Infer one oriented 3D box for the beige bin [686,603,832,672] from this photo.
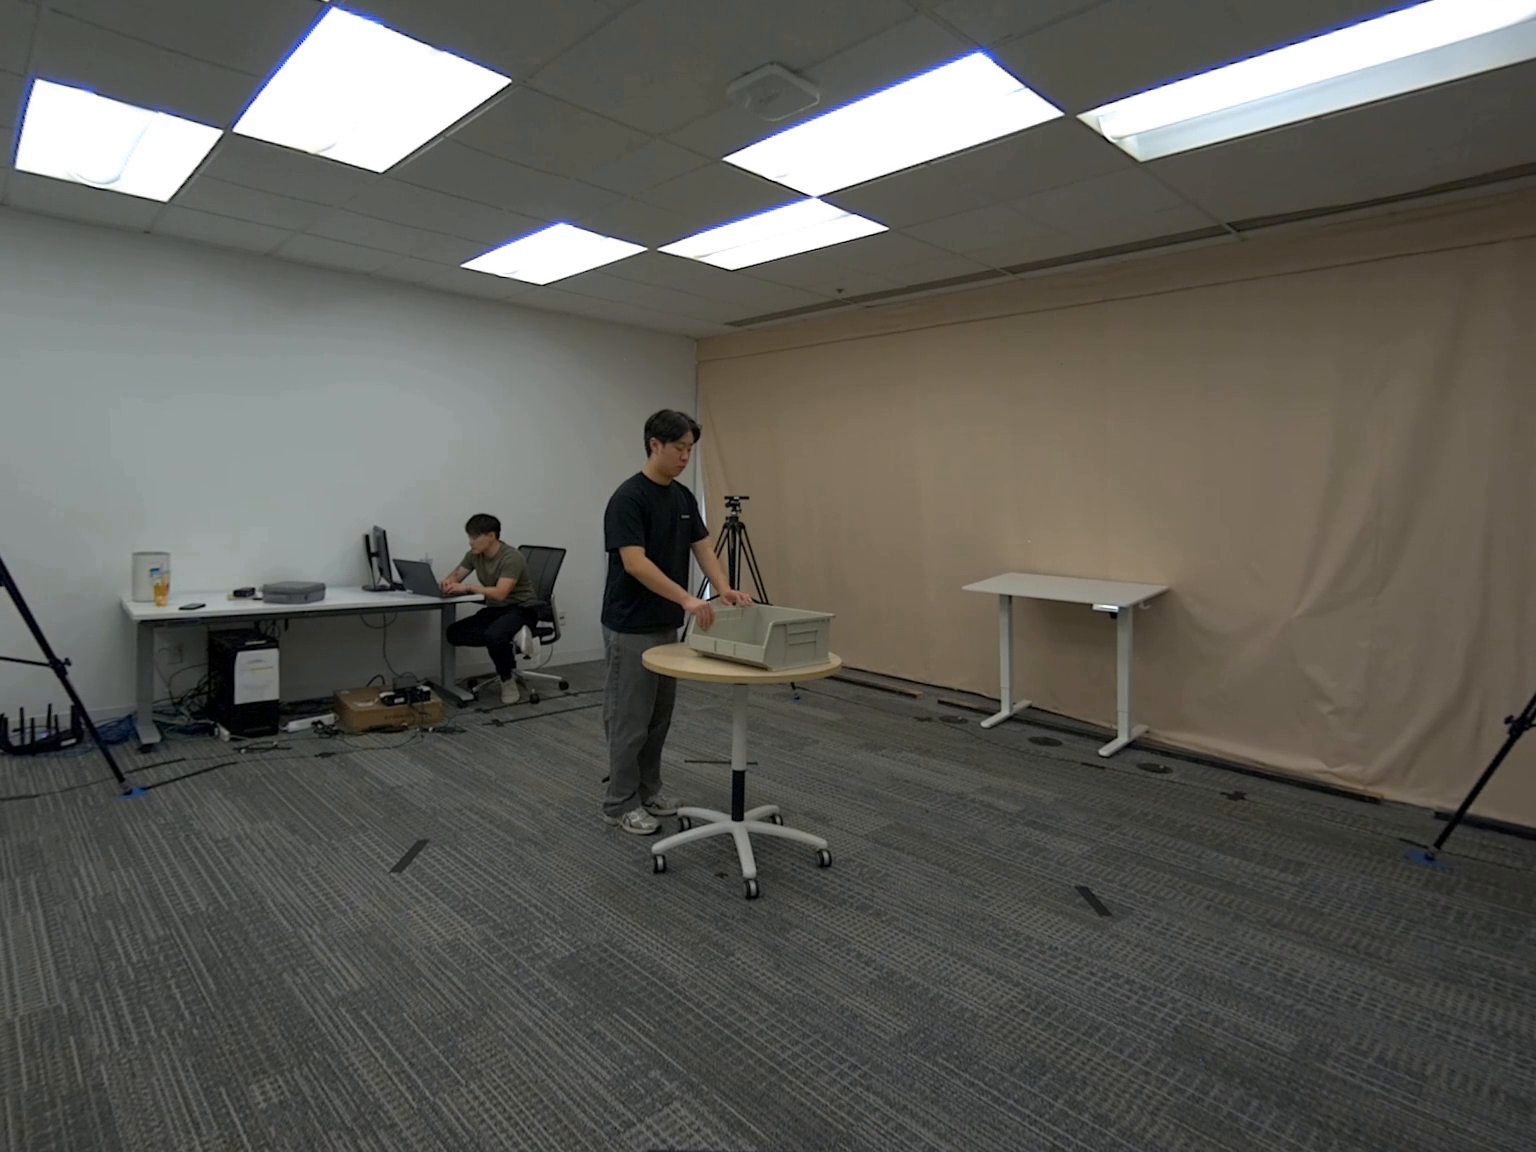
[{"bbox_3d":[-0.038,0.228,3.173,0.368,0.189,0.433,-1,4,-44],"label":"beige bin"}]
